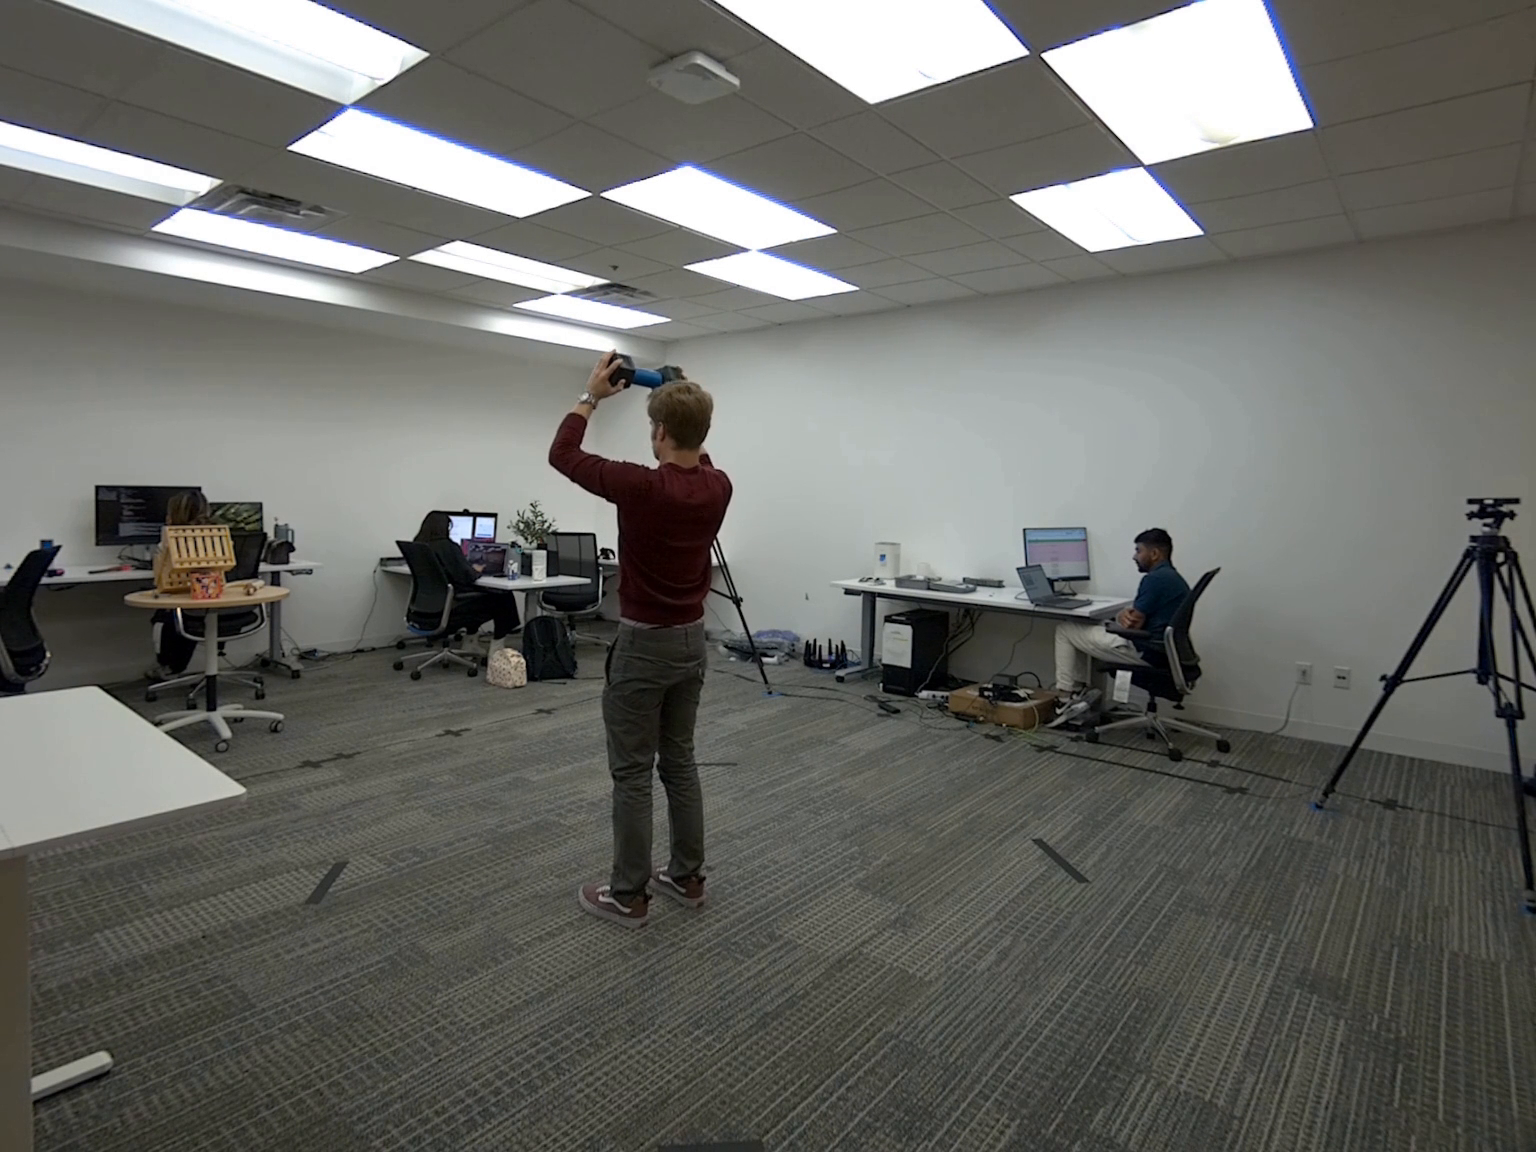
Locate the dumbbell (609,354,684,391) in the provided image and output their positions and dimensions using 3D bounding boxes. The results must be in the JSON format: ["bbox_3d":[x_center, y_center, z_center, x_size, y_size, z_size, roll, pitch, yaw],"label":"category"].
[{"bbox_3d":[-0.424,-0.672,2.865,0.284,0.122,0.113,4,24,-43],"label":"dumbbell"}]
